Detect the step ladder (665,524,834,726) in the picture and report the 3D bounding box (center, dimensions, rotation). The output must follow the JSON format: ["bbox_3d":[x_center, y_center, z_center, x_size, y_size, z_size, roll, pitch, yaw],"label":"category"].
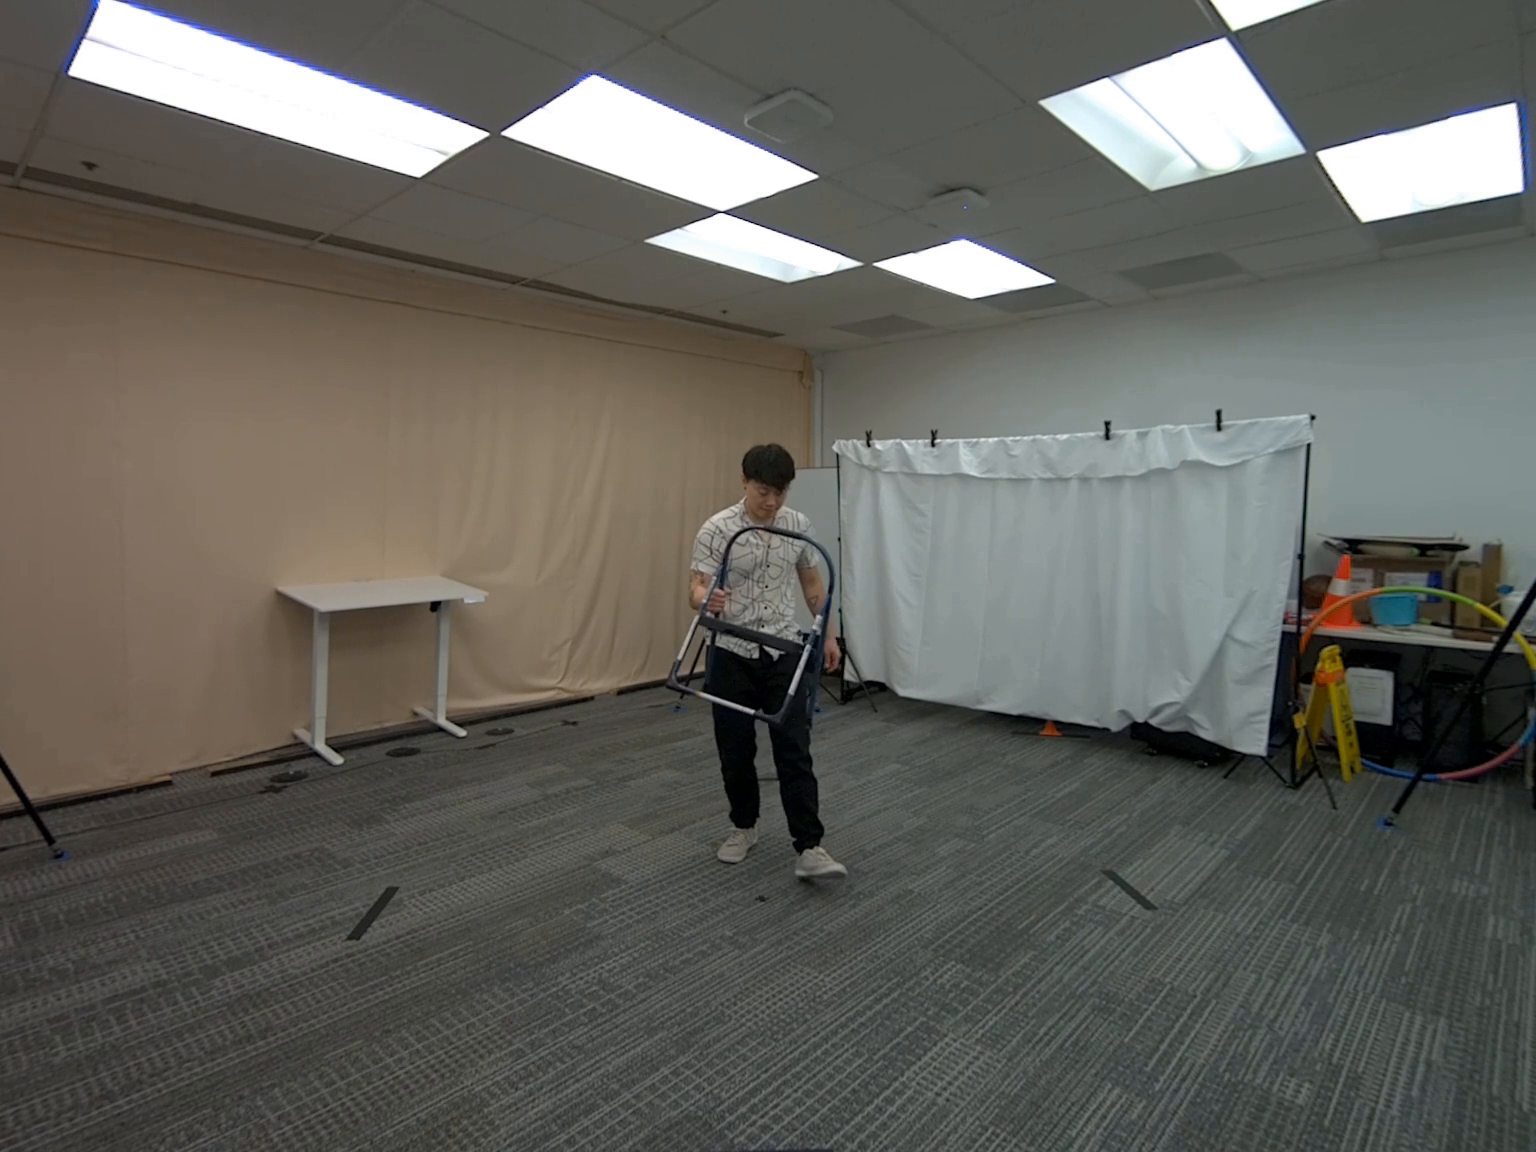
[{"bbox_3d":[-0.001,0.153,2.813,0.442,0.607,0.340,14,-6,22],"label":"step ladder"}]
